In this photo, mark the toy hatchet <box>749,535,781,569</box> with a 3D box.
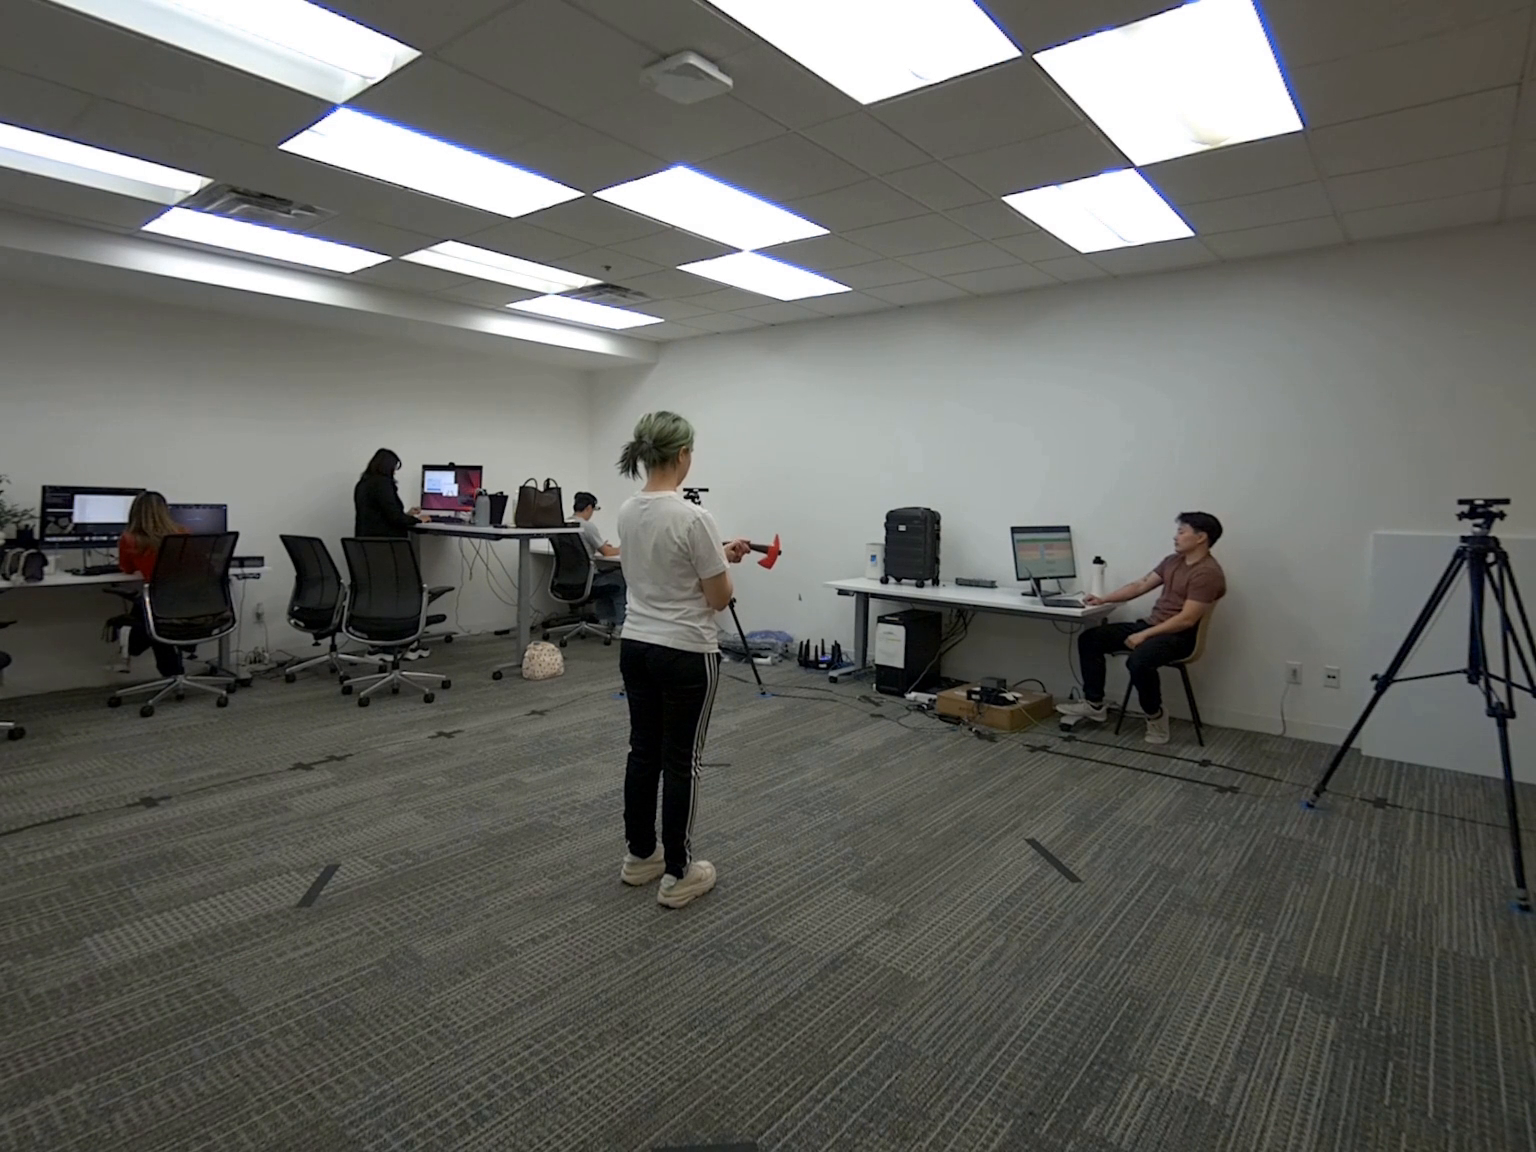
[{"bbox_3d":[-0.103,-0.078,3.178,0.272,0.129,0.029,-6,10,9],"label":"toy hatchet"}]
